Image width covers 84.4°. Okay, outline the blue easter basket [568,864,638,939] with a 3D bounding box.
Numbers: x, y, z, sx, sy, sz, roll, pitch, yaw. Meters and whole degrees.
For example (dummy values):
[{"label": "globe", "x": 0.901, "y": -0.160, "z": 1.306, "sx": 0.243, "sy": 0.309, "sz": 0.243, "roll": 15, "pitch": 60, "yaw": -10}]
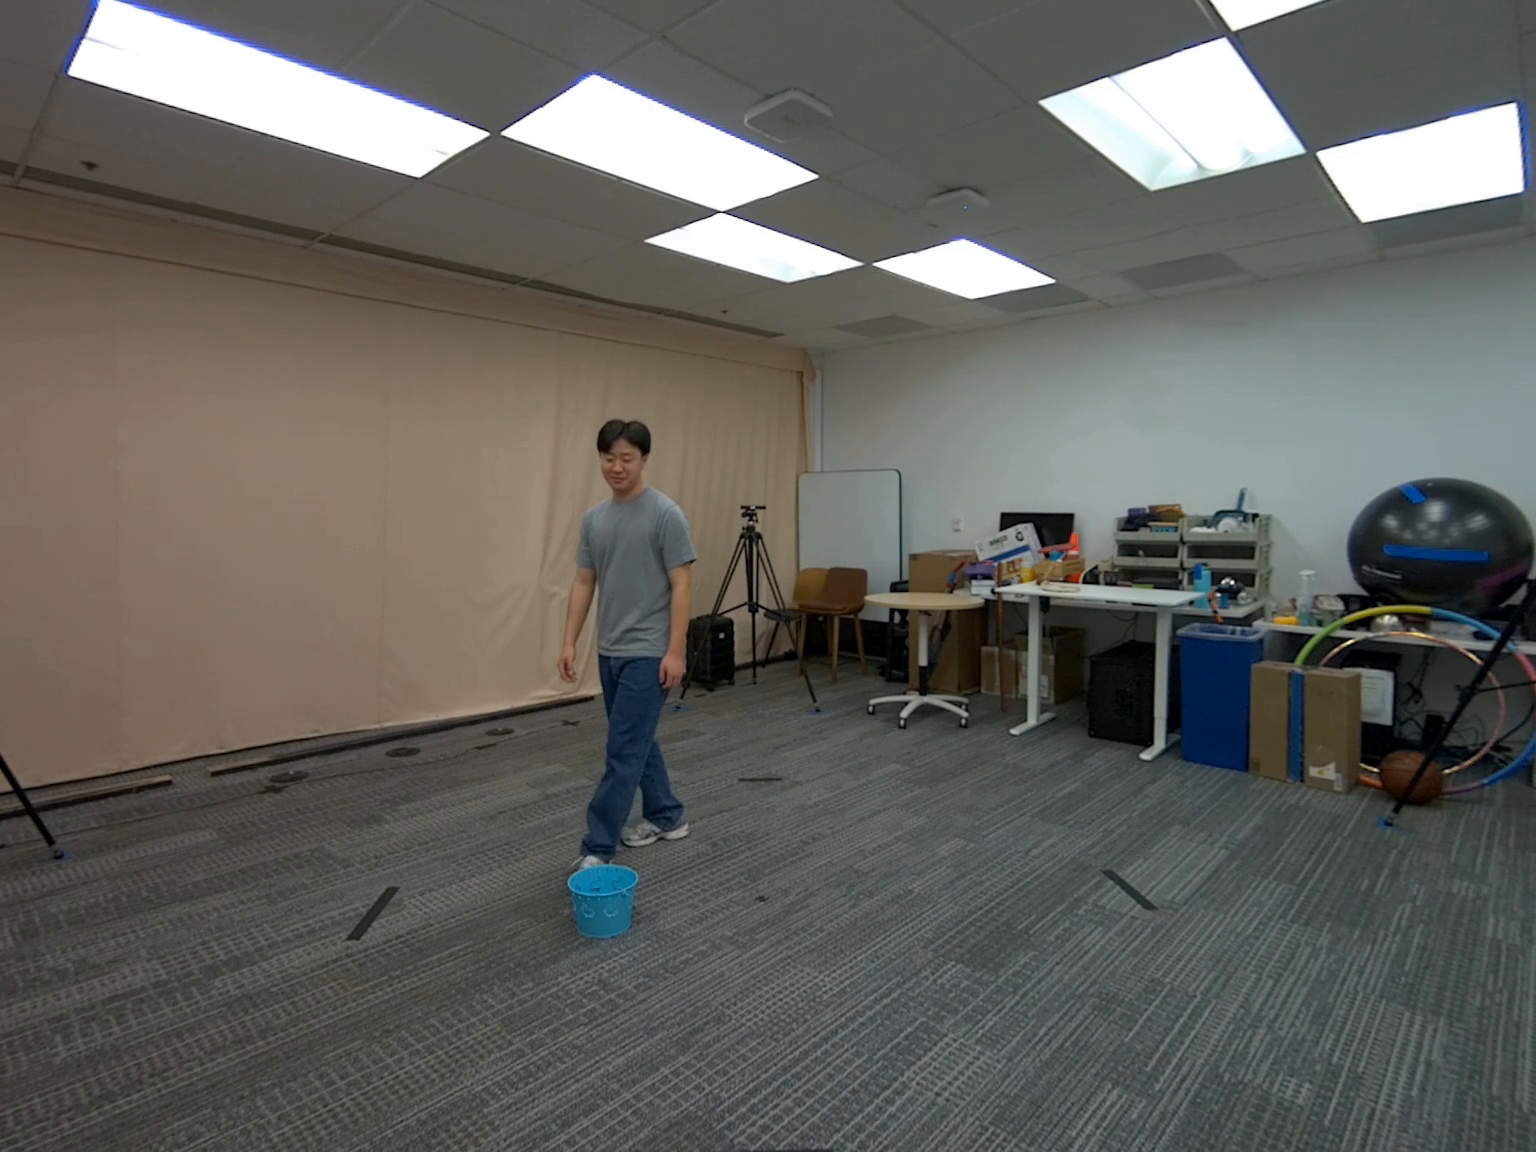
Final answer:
[{"label": "blue easter basket", "x": -0.541, "y": 1.084, "z": 2.801, "sx": 0.243, "sy": 0.155, "sz": 0.244, "roll": -1, "pitch": 5, "yaw": -2}]
